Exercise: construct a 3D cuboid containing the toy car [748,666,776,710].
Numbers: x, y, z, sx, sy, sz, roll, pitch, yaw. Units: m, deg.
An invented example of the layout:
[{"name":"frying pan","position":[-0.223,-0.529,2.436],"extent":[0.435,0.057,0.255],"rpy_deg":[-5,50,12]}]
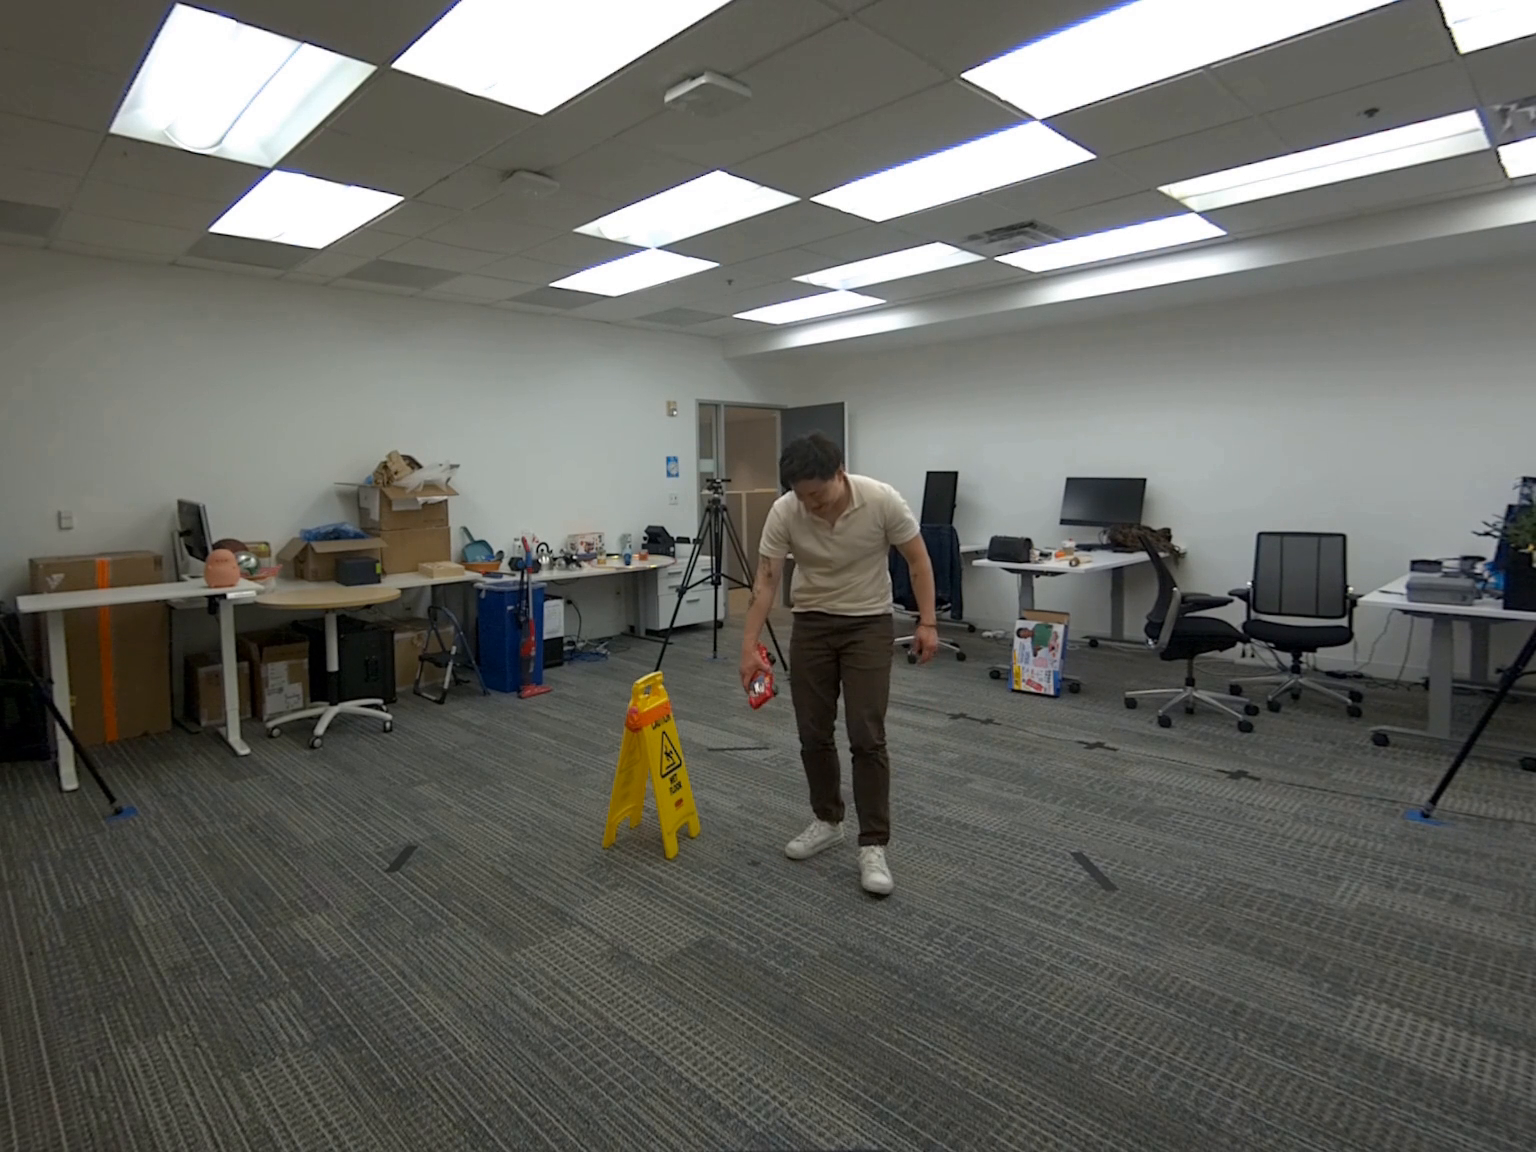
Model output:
[{"name":"toy car","position":[-0.019,0.367,3.075],"extent":[0.080,0.263,0.130],"rpy_deg":[26,-57,-36]}]
